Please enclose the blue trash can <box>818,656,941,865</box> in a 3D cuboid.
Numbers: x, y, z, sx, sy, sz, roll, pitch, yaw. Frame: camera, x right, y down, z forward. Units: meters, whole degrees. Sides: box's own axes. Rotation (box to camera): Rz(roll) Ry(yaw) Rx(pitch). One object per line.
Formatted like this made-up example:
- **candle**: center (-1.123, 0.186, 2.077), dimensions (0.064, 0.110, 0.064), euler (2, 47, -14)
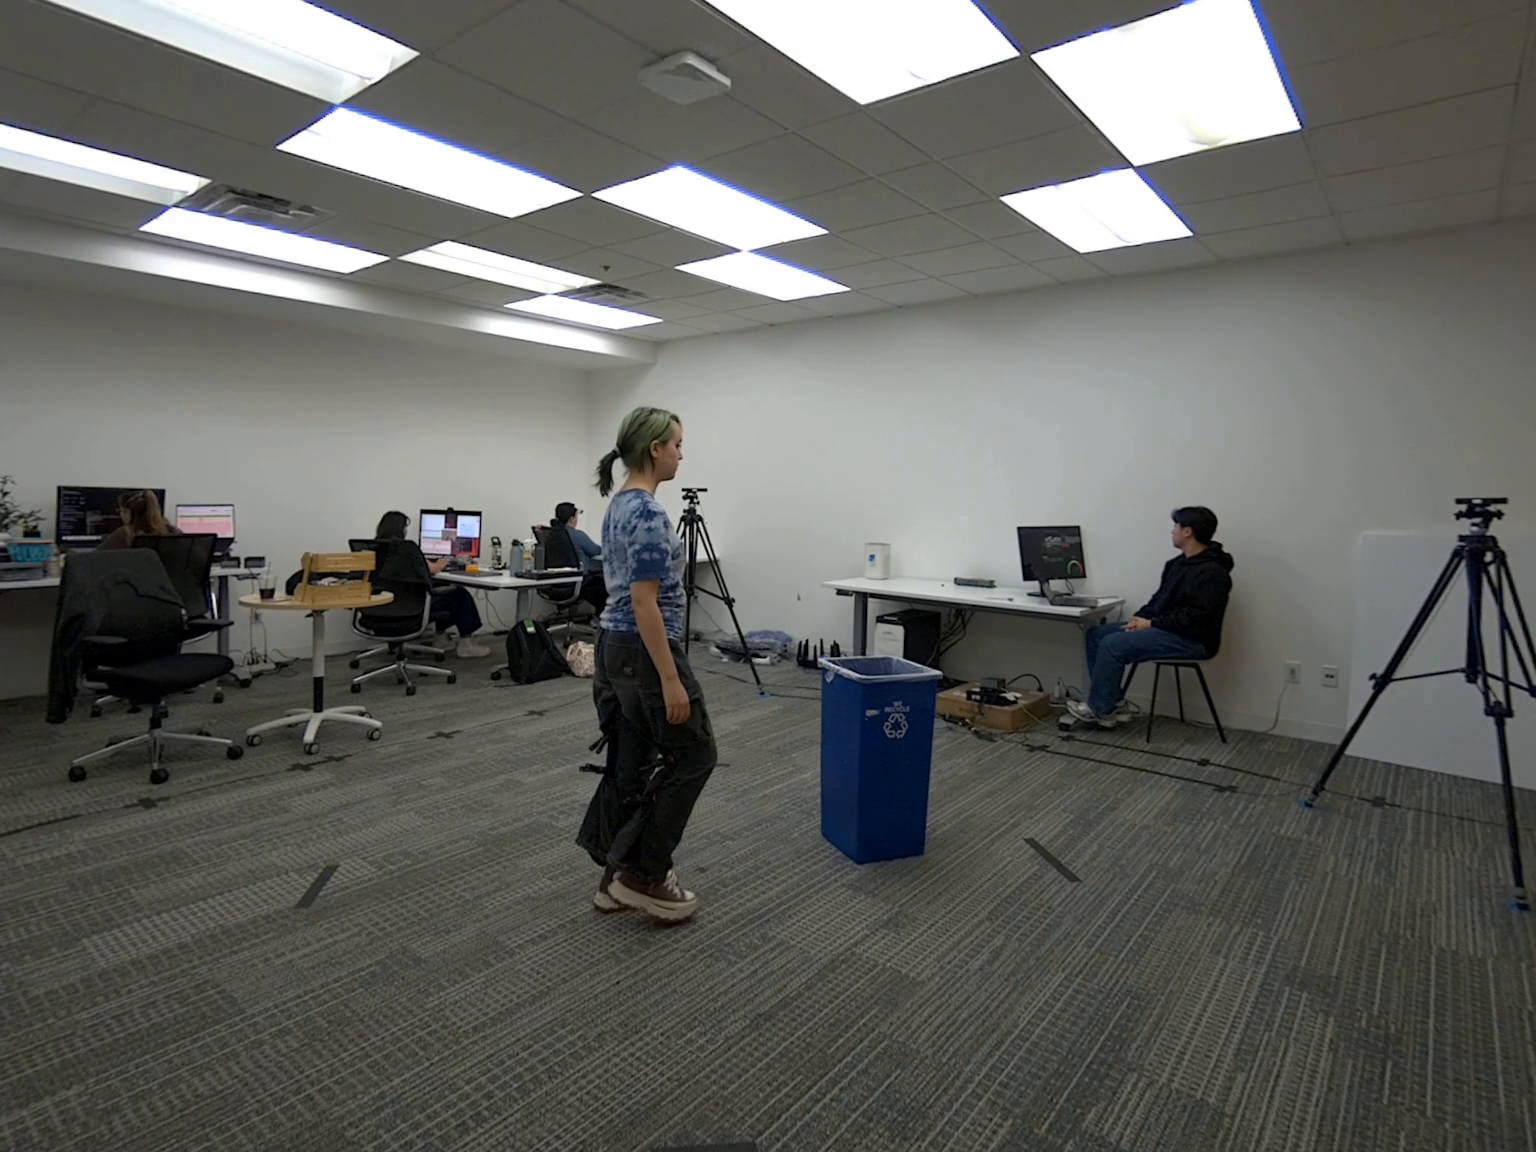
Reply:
- **blue trash can**: center (0.420, 0.703, 3.354), dimensions (0.366, 0.711, 0.388), euler (0, 4, -23)
